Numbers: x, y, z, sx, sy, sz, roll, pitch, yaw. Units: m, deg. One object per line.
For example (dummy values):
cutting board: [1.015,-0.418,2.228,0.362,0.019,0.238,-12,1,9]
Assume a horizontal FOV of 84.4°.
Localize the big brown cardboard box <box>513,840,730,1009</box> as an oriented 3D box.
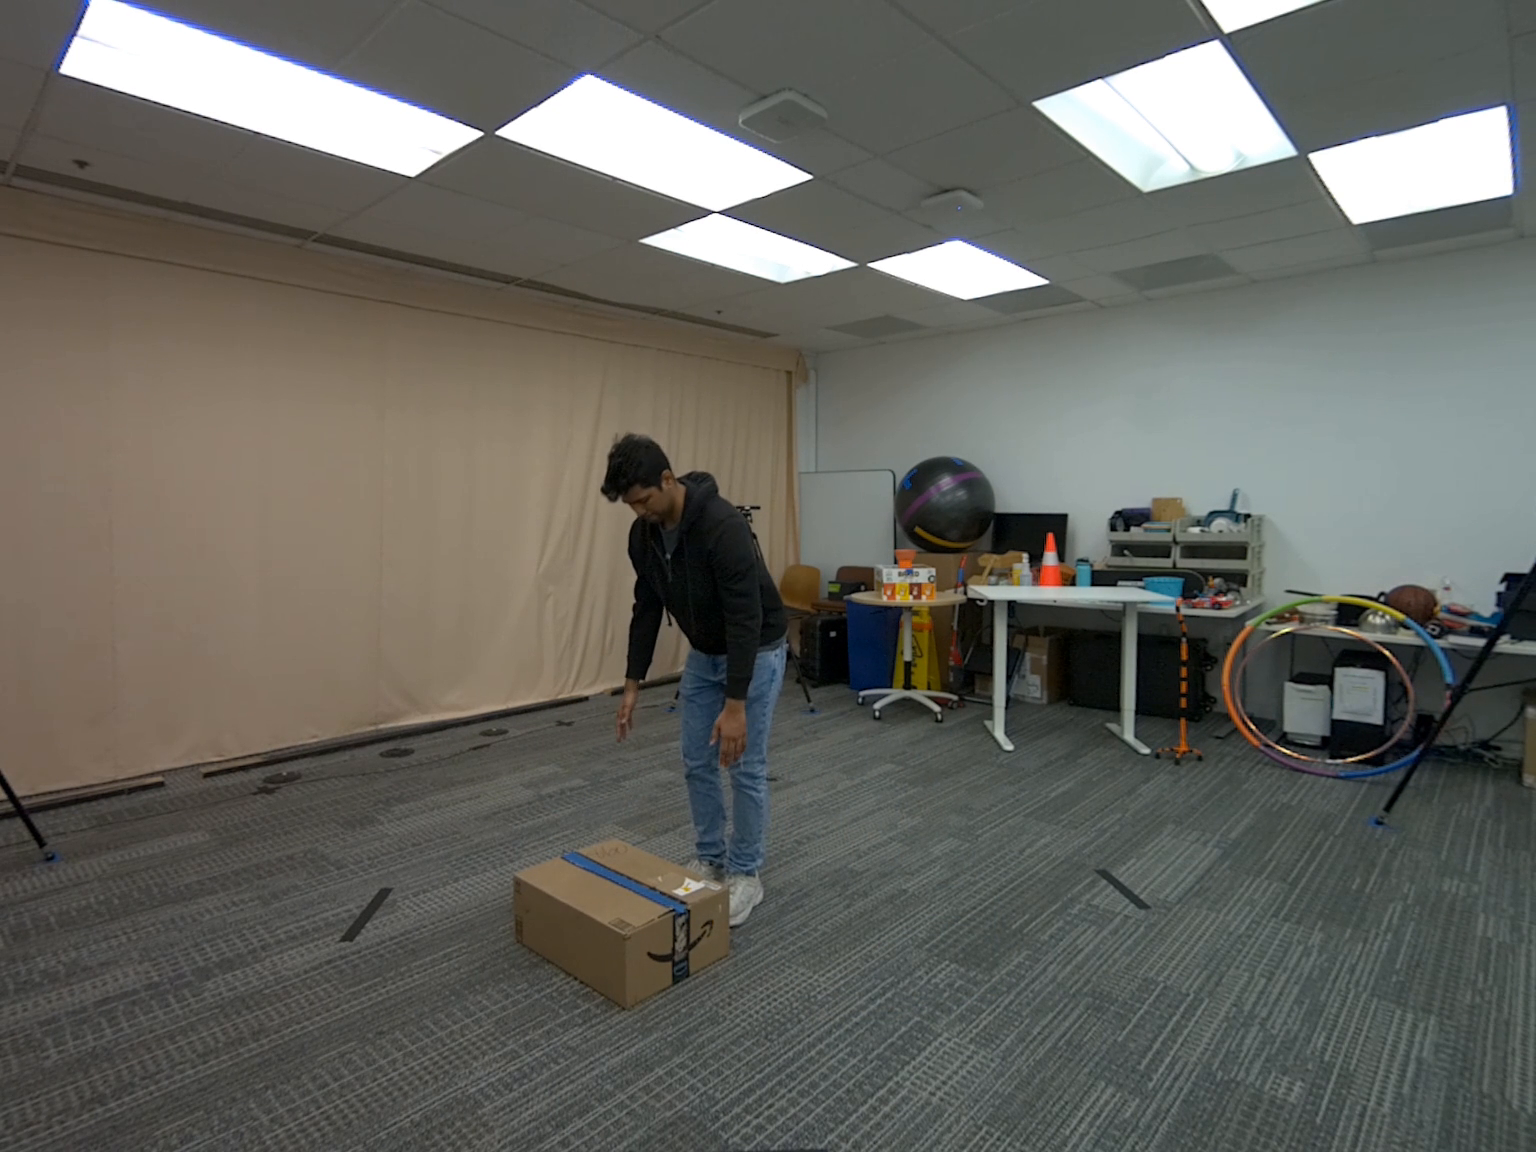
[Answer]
big brown cardboard box: [-0.463,1.063,2.654,0.608,0.233,0.405,3,5,42]
